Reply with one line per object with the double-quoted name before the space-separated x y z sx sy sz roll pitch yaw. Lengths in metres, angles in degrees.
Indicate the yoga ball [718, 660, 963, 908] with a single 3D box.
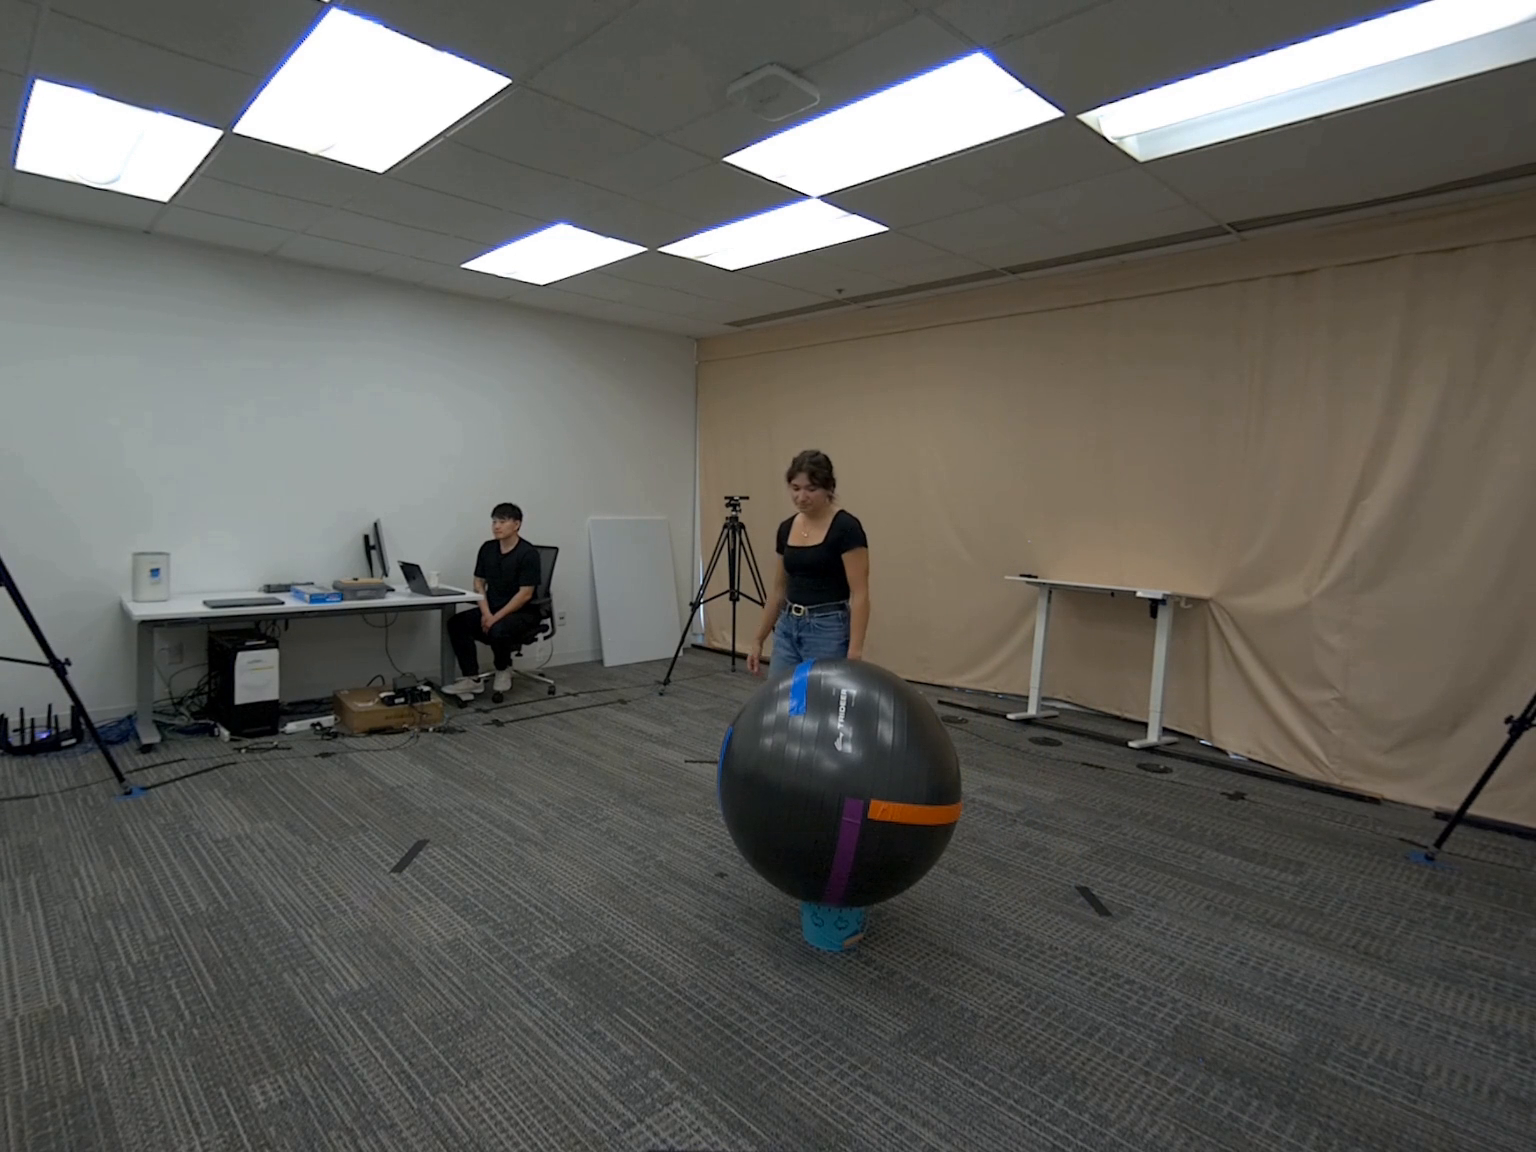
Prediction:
"yoga ball" 0.218 0.646 2.652 0.757 0.756 0.761 1 4 -1
